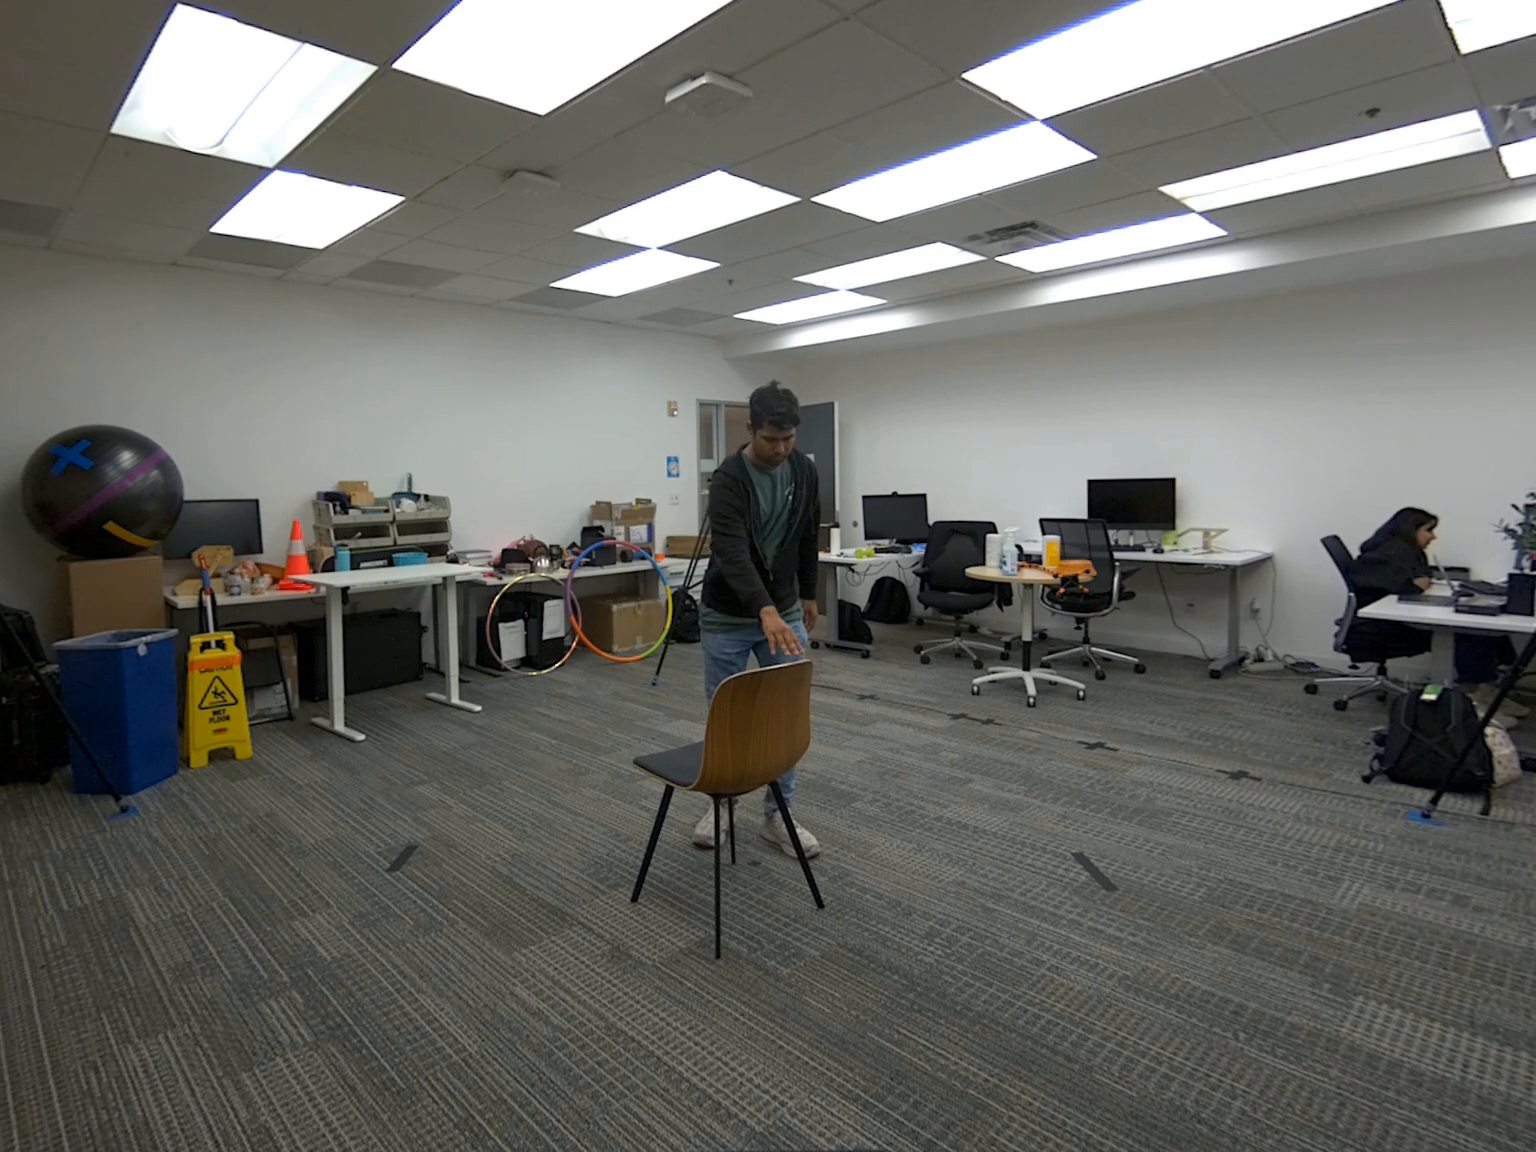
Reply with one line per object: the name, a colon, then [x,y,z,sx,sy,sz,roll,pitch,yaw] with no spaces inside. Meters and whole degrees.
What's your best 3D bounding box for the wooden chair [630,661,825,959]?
wooden chair: [-0.144,0.660,2.776,0.466,0.871,0.541,-5,10,-41]
